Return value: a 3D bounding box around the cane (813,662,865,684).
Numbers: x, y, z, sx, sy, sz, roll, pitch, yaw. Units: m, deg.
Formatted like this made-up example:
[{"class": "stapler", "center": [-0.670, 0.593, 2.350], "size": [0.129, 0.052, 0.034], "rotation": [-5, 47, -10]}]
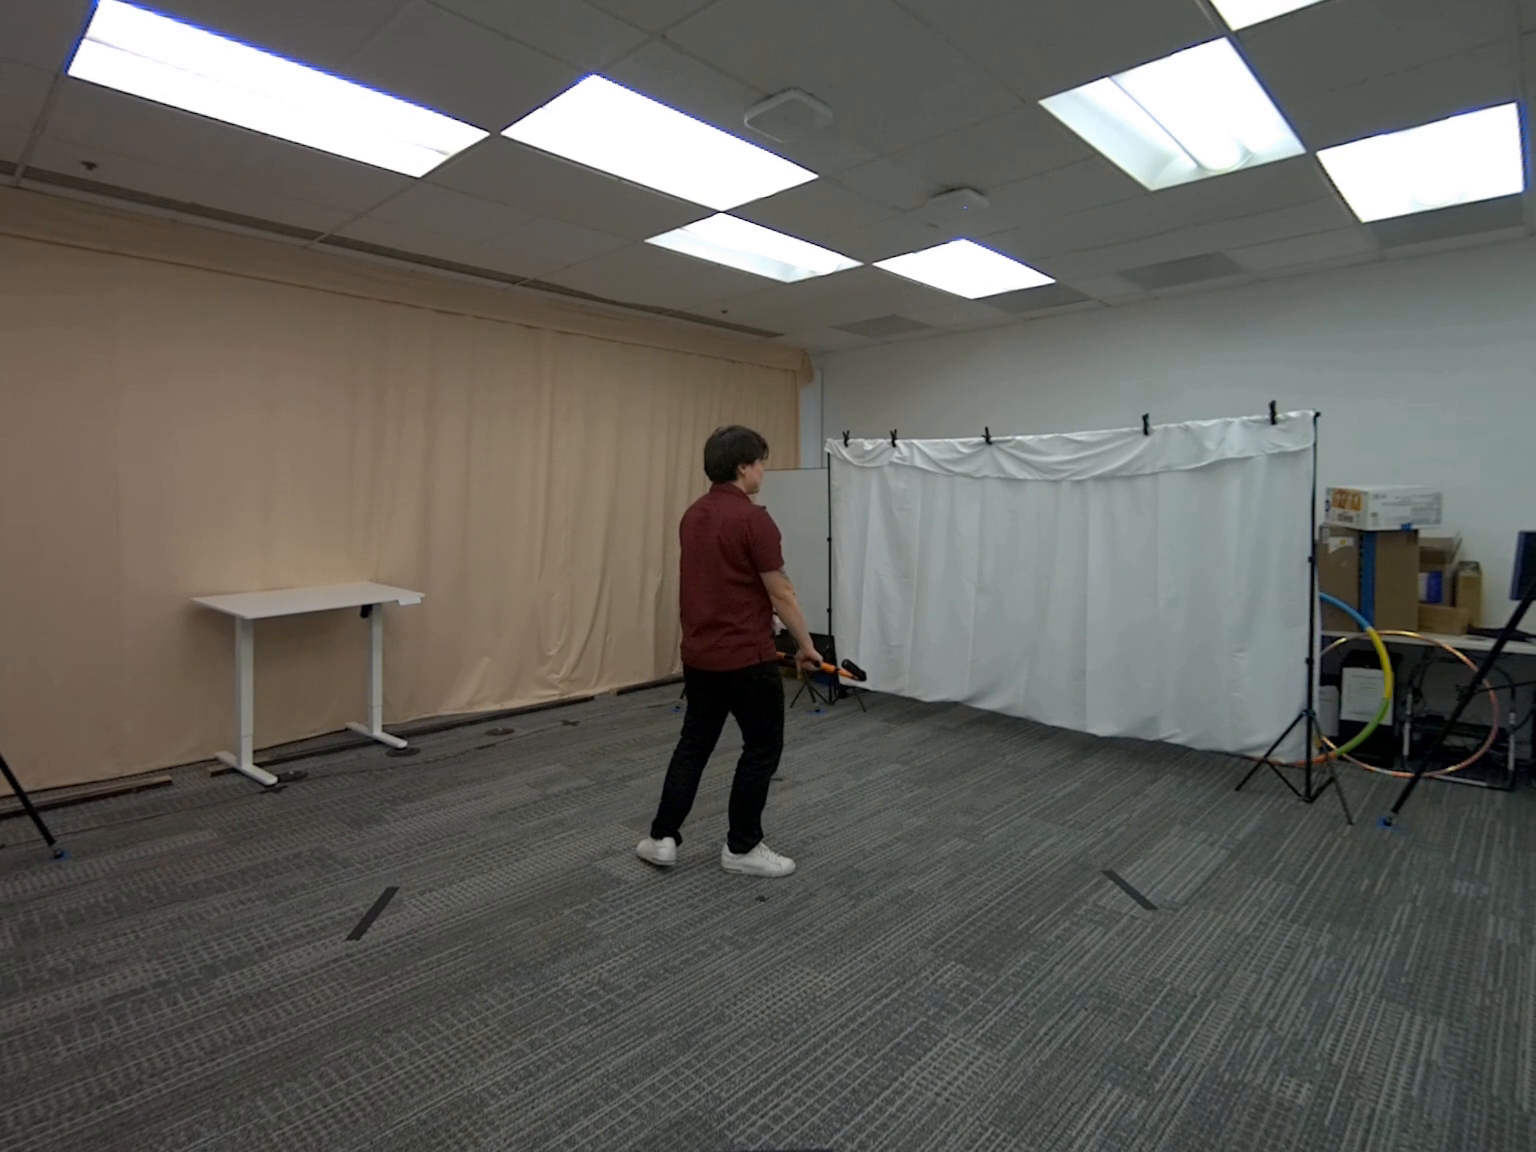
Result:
[{"class": "cane", "center": [0.034, 0.321, 3.295], "size": [0.938, 0.152, 0.199], "rotation": [6, -26, 49]}]
